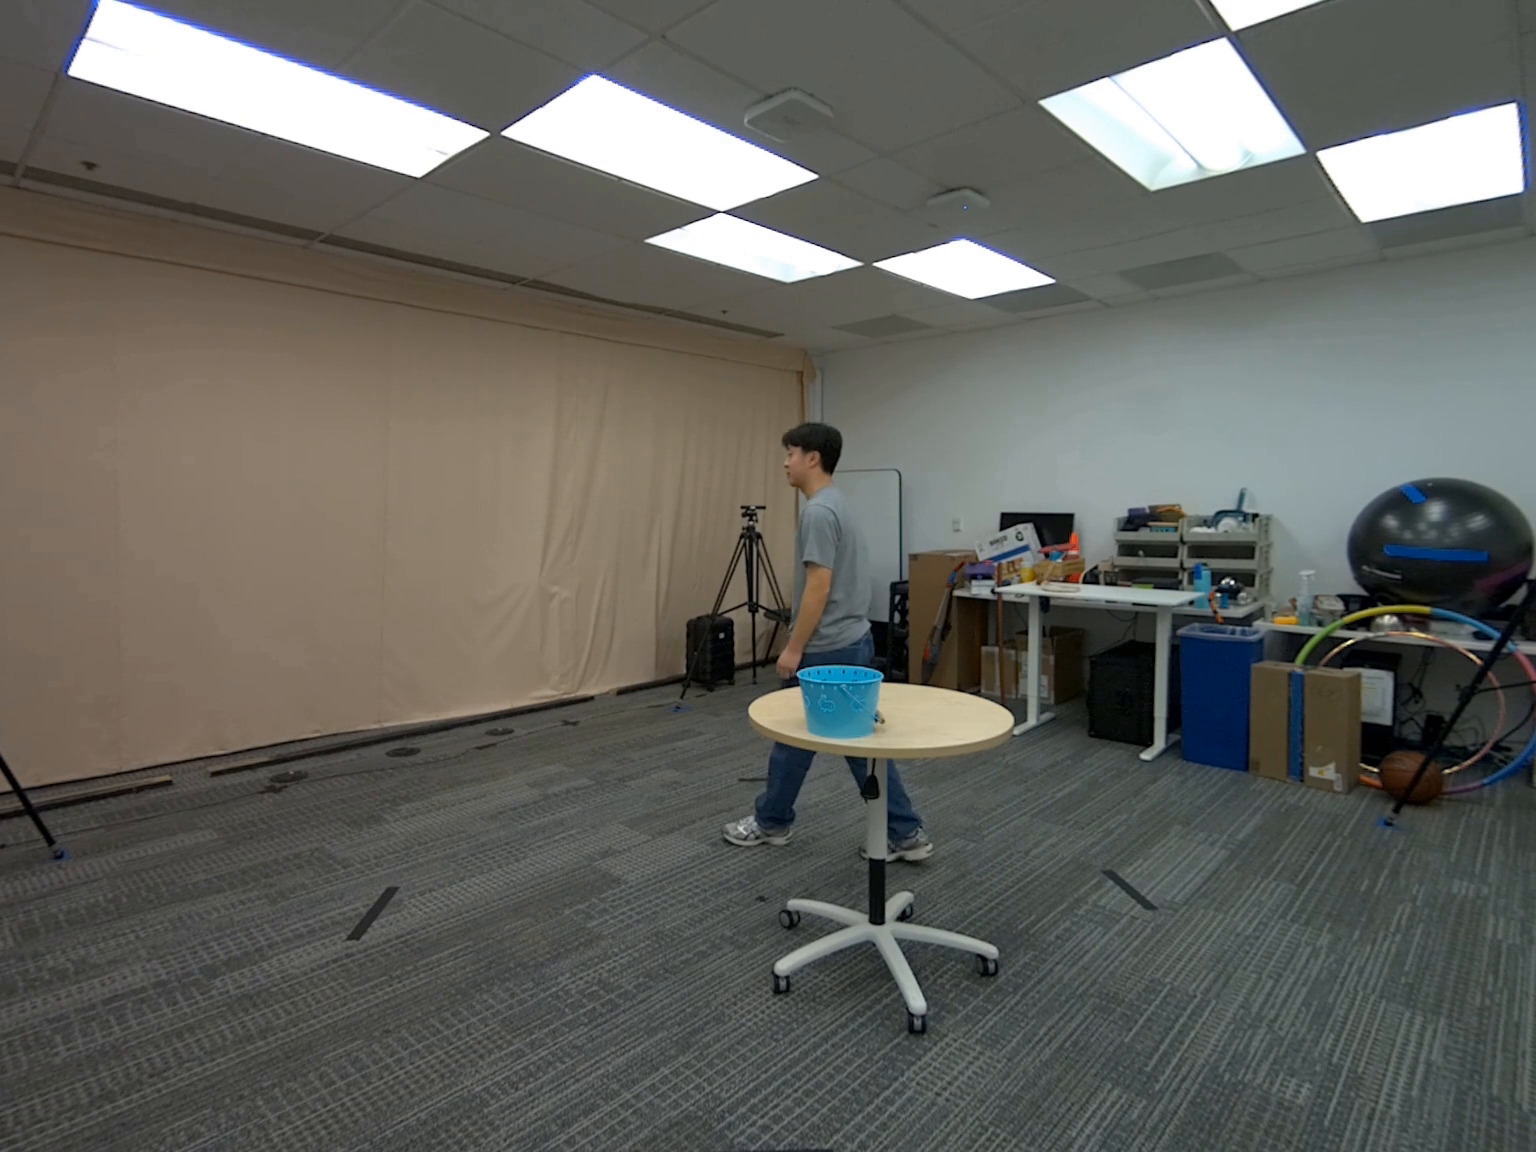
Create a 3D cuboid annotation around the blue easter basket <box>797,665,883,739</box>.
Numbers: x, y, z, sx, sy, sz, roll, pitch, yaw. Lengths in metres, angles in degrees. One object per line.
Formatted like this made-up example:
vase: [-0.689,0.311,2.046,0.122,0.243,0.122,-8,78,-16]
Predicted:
blue easter basket: [0.209,0.347,2.287,0.243,0.155,0.244,0,5,-2]
